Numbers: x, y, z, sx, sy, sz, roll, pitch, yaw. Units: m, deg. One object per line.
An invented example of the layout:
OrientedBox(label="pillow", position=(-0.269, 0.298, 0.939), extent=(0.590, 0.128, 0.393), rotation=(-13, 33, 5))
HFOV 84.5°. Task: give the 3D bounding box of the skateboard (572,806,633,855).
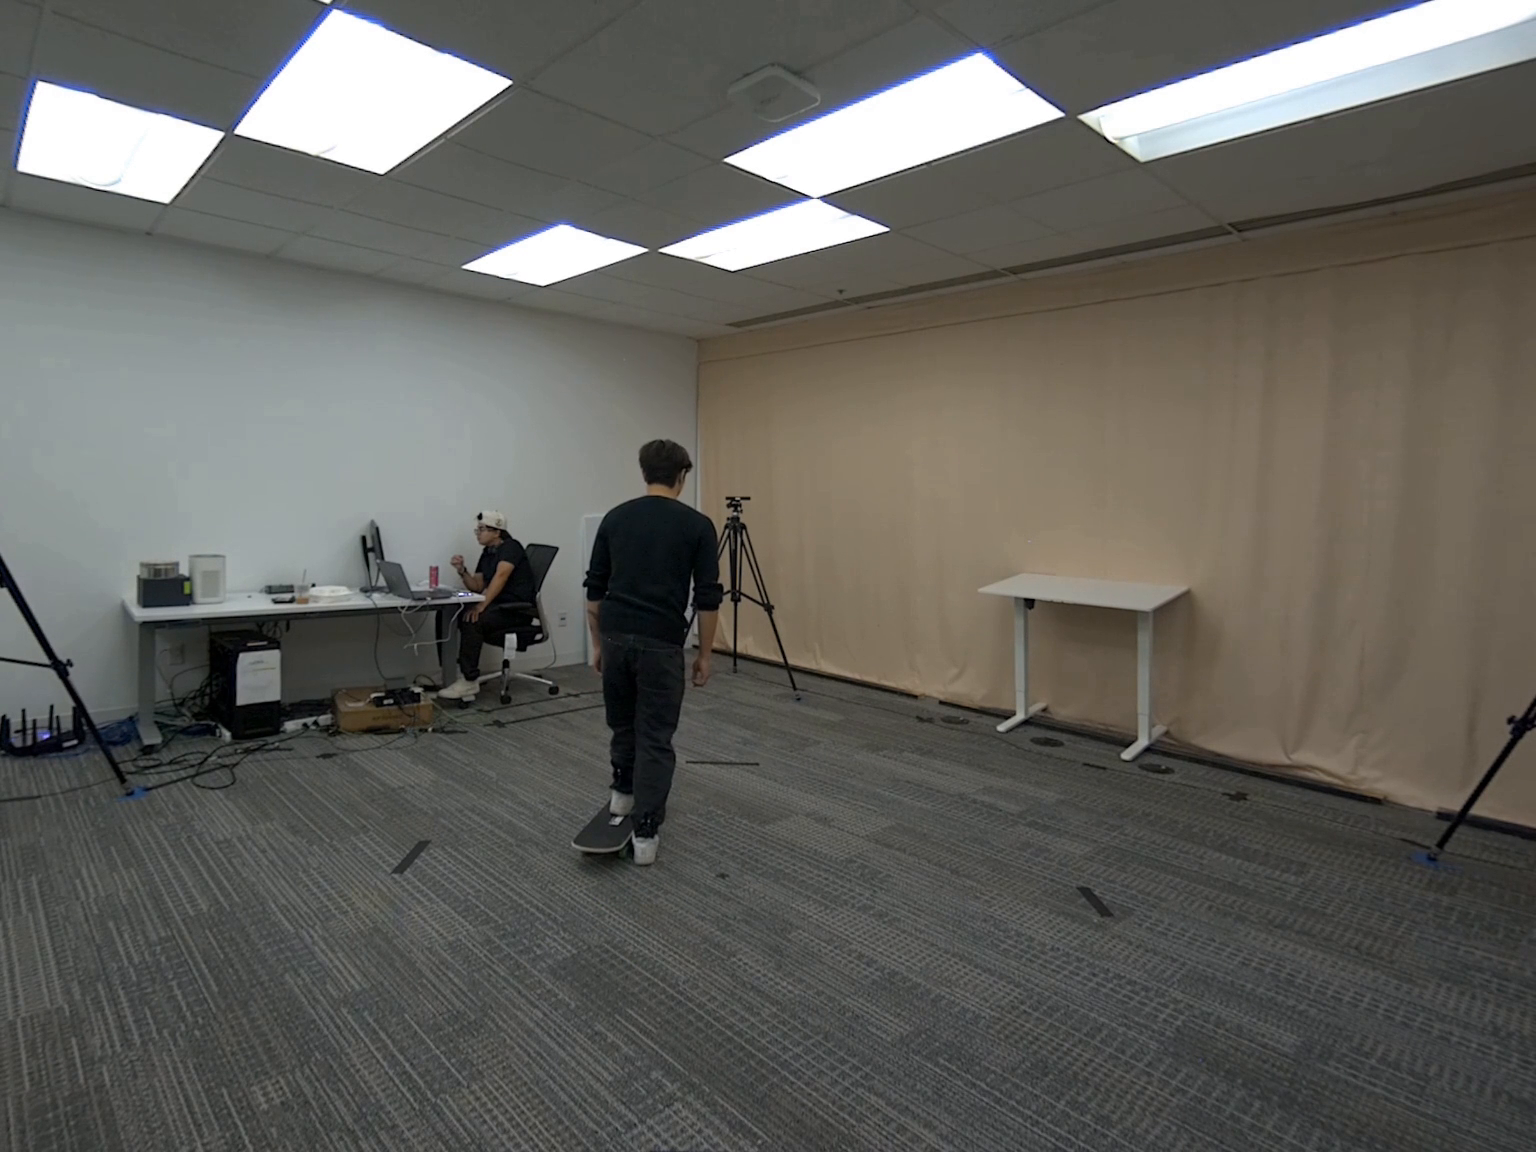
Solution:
OrientedBox(label="skateboard", position=(-0.612, 1.007, 3.447), extent=(0.195, 0.110, 0.781), rotation=(3, 4, 7))
